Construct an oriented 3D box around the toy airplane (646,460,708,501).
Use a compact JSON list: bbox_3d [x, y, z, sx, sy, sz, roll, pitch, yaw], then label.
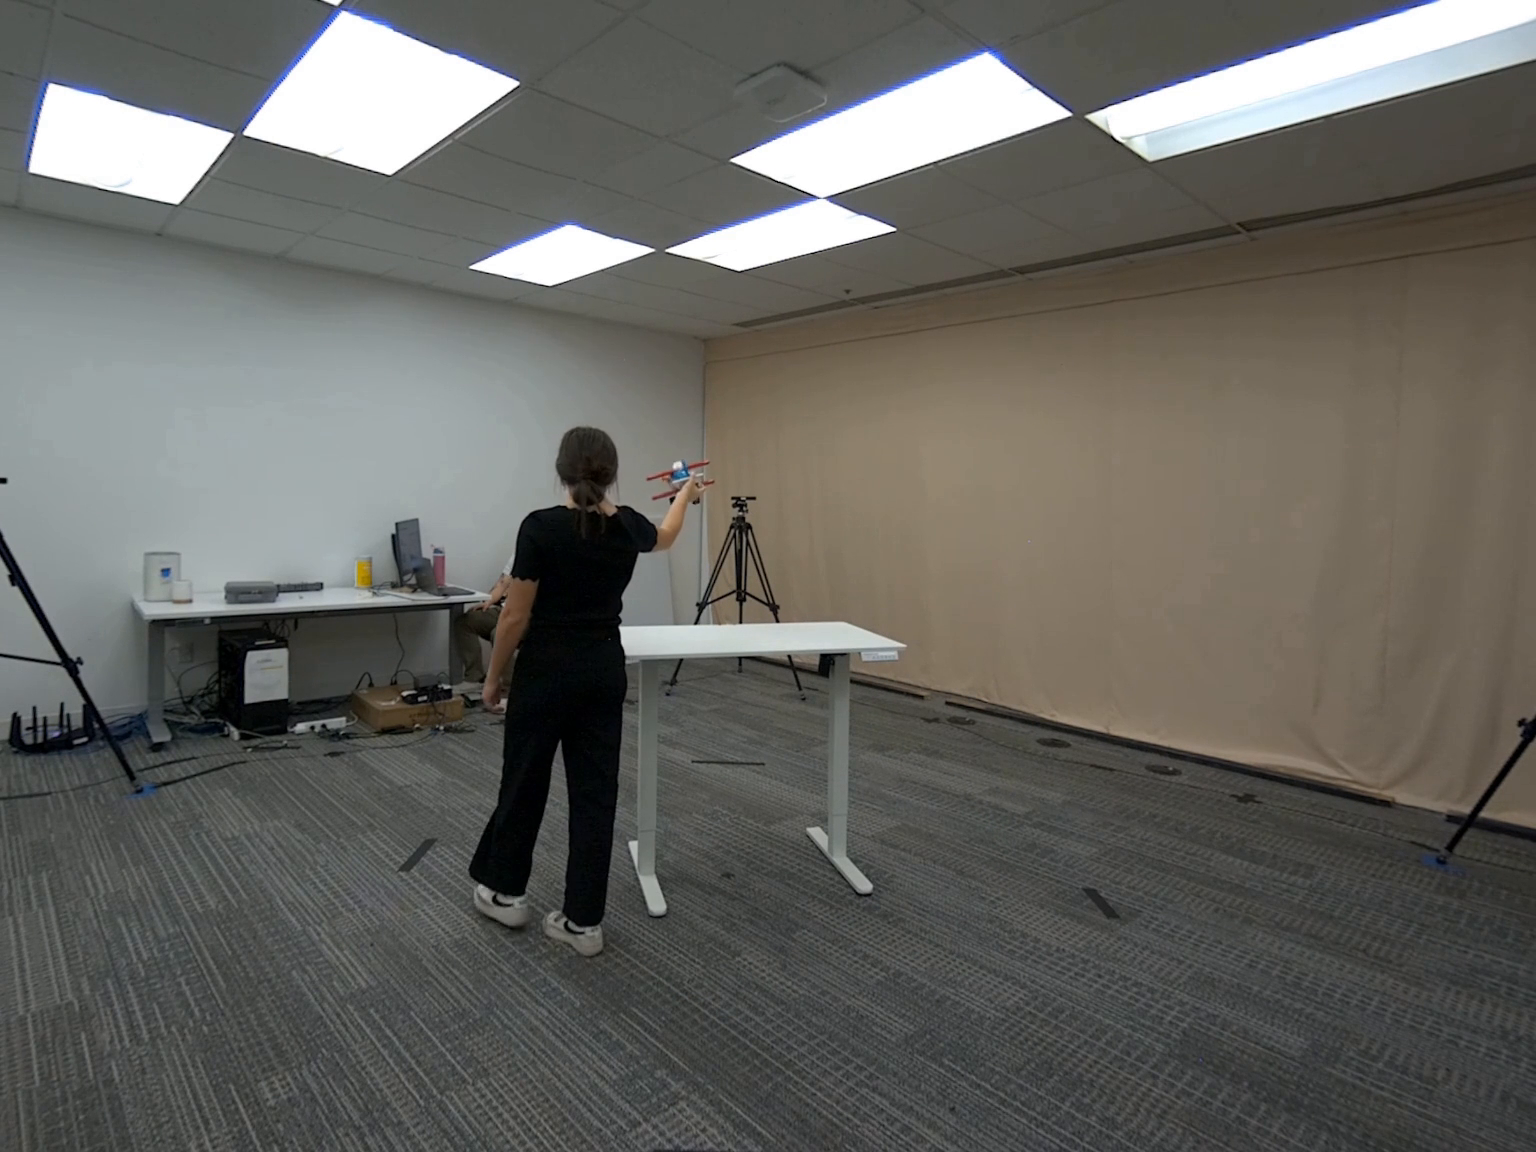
[{"bbox_3d":[-0.318,-0.365,3.241,0.246,0.158,0.262,-14,-9,-41],"label":"toy airplane"}]
